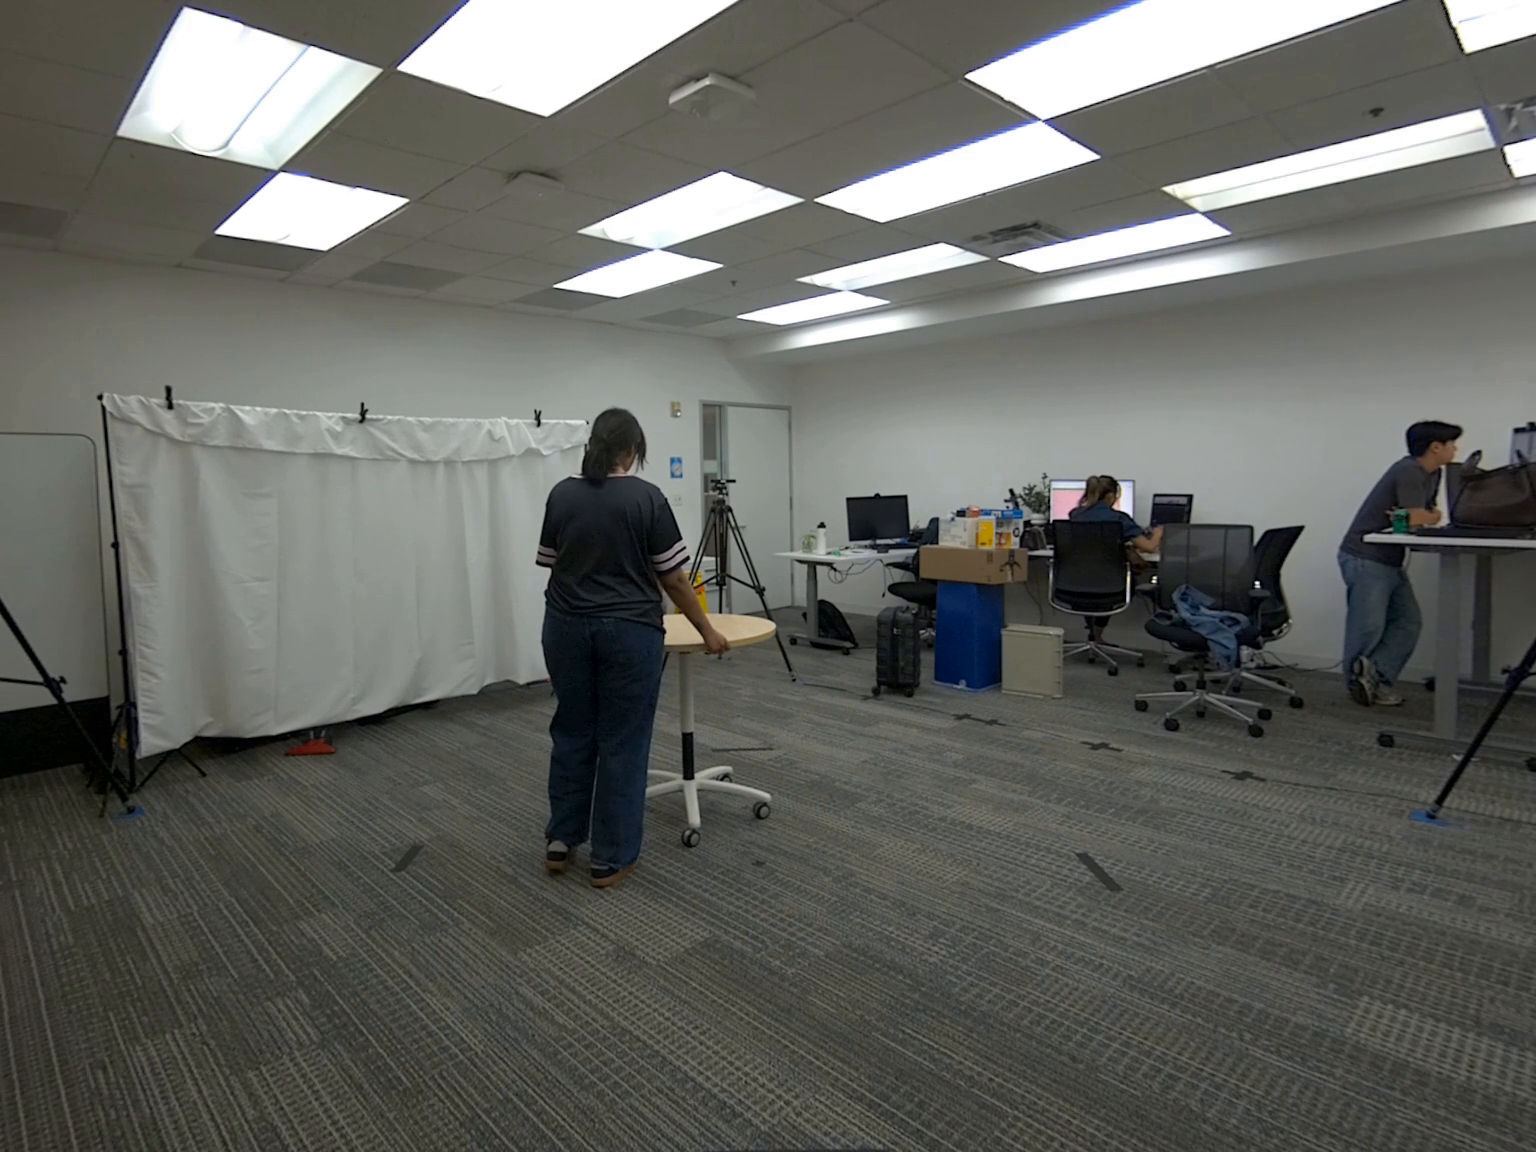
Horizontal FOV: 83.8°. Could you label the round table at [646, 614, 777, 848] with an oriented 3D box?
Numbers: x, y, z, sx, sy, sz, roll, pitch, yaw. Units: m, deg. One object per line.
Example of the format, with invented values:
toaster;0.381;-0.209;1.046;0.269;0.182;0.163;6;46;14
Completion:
round table;-0.335;0.610;3.597;0.763;0.791;0.767;-2;4;-2
